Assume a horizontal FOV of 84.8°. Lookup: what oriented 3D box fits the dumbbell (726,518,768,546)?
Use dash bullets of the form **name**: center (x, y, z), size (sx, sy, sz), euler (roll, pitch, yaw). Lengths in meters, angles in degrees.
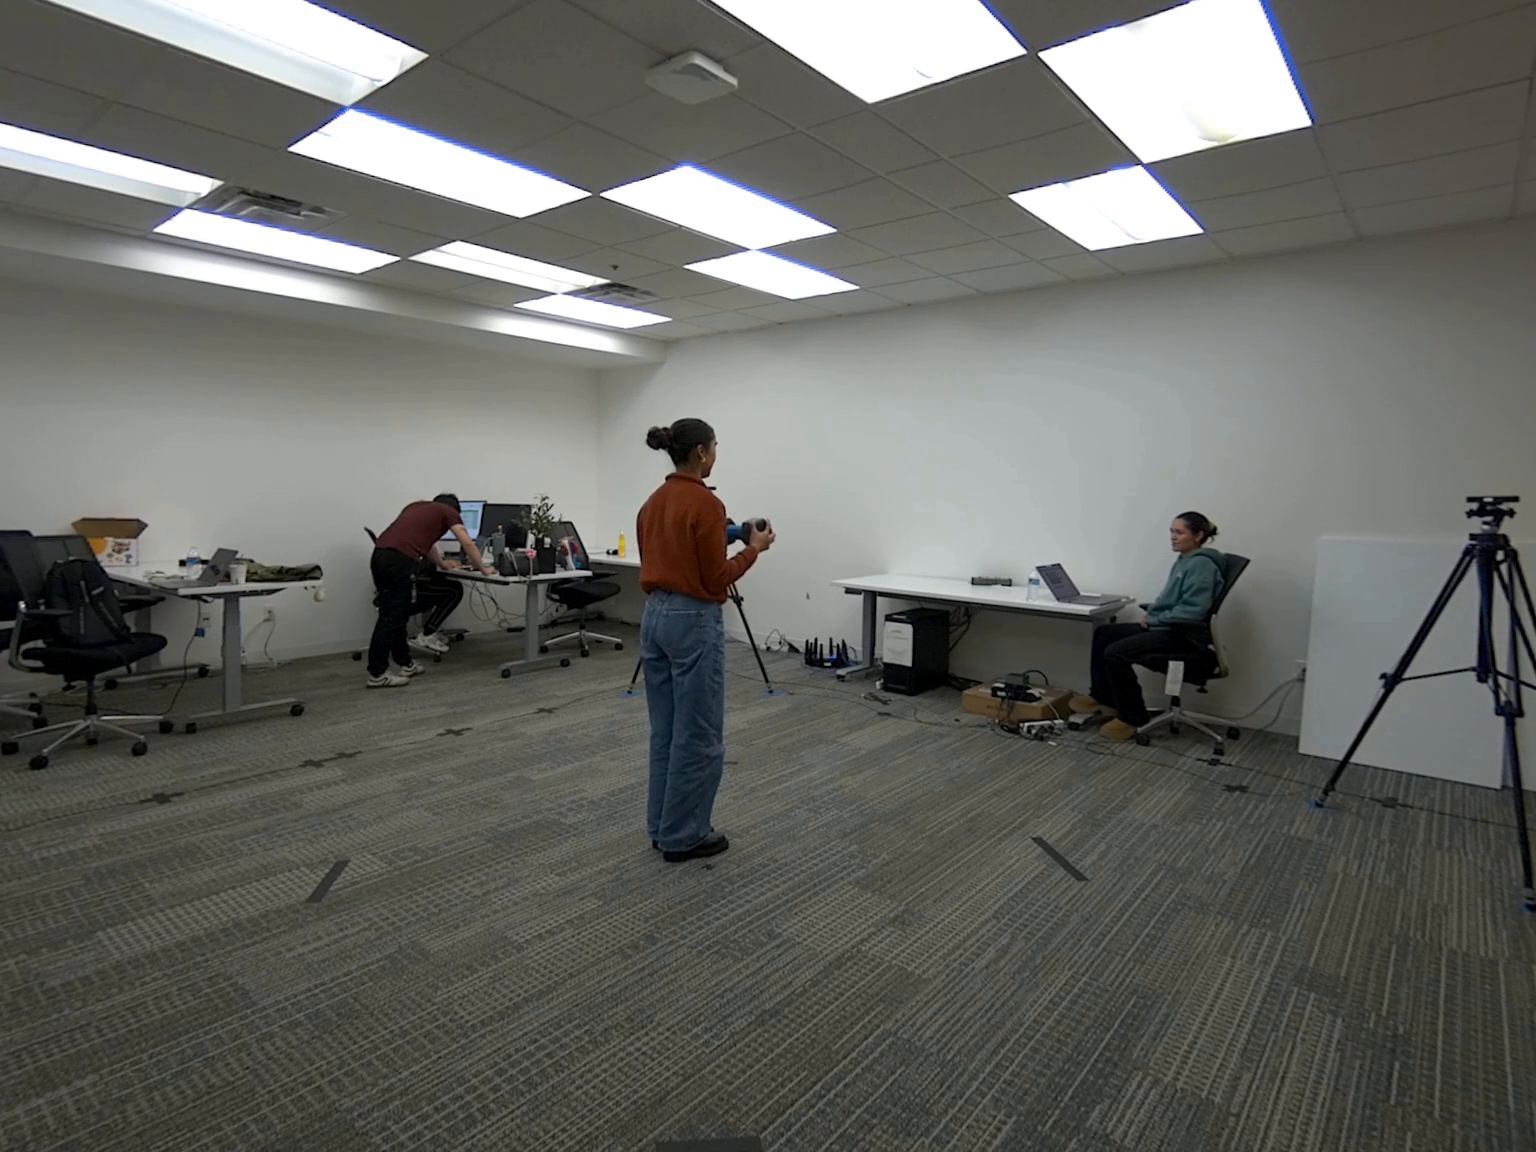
- **dumbbell**: center (-0.140, -0.163, 3.387), size (0.121, 0.107, 0.303), euler (-25, 18, -38)
